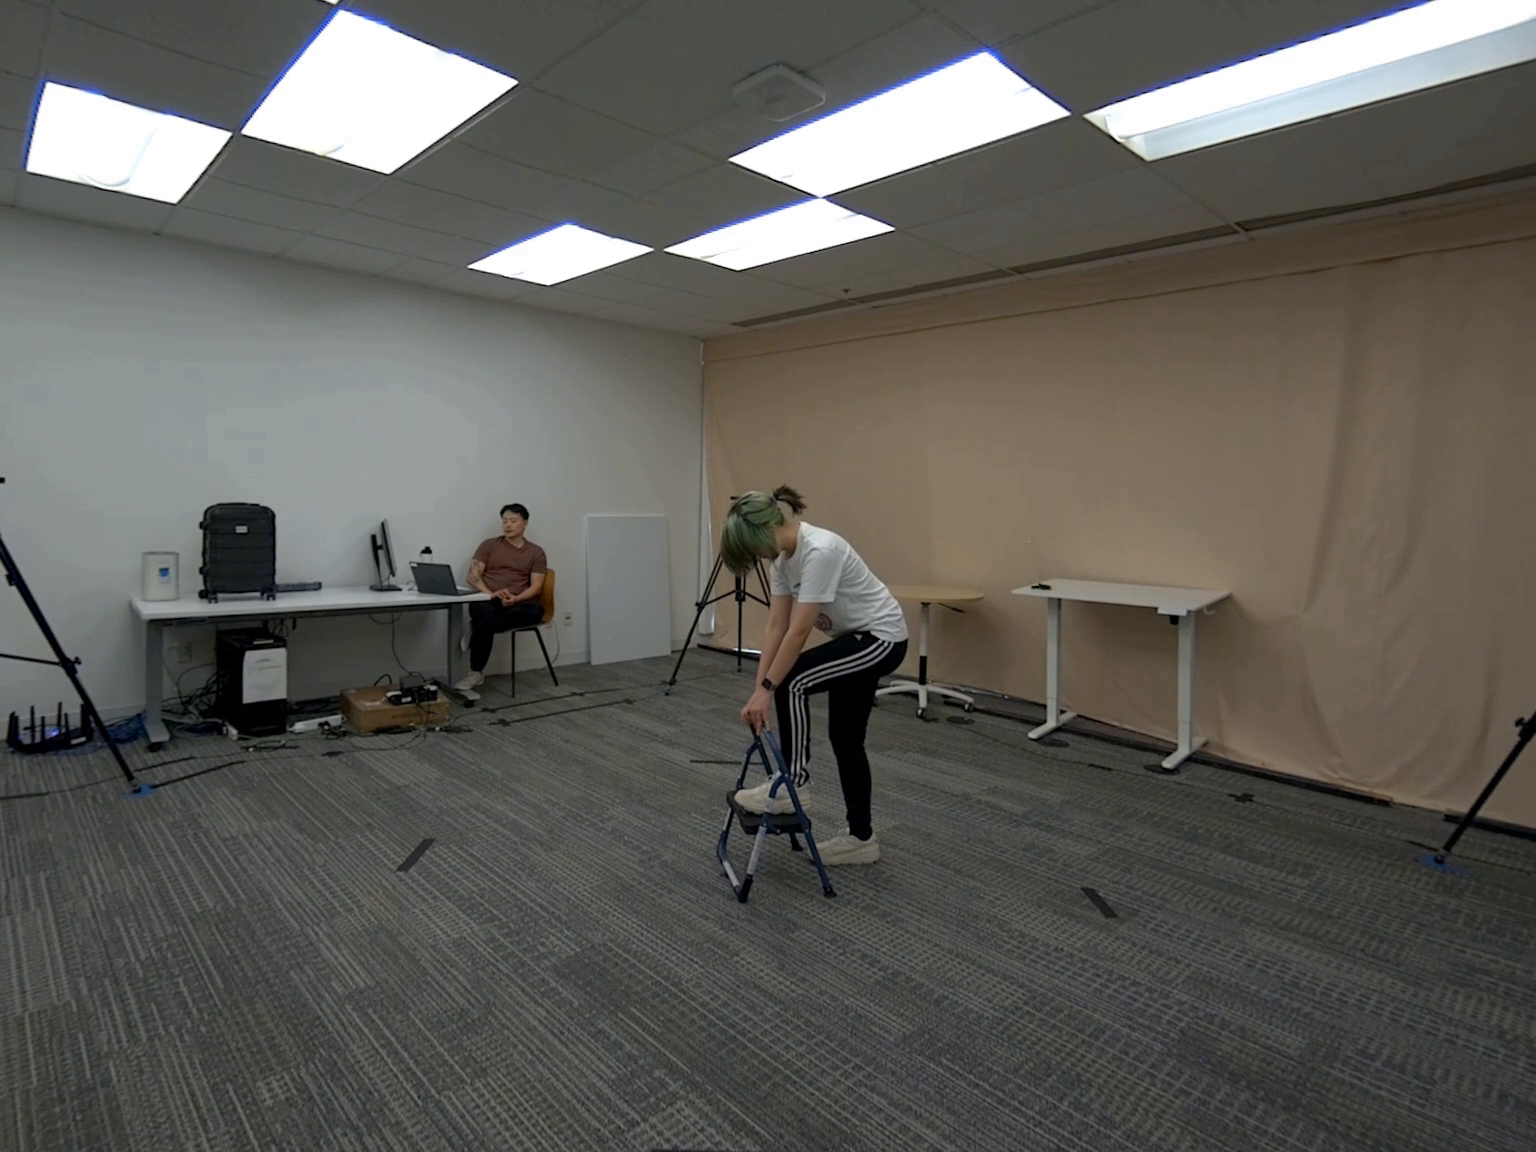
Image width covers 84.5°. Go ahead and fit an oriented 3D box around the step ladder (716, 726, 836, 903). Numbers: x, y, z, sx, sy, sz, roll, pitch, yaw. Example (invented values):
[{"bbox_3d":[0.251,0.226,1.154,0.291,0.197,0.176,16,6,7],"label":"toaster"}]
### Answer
[{"bbox_3d":[0.016,0.809,3.104,0.345,0.604,0.436,0,4,-15],"label":"step ladder"}]
